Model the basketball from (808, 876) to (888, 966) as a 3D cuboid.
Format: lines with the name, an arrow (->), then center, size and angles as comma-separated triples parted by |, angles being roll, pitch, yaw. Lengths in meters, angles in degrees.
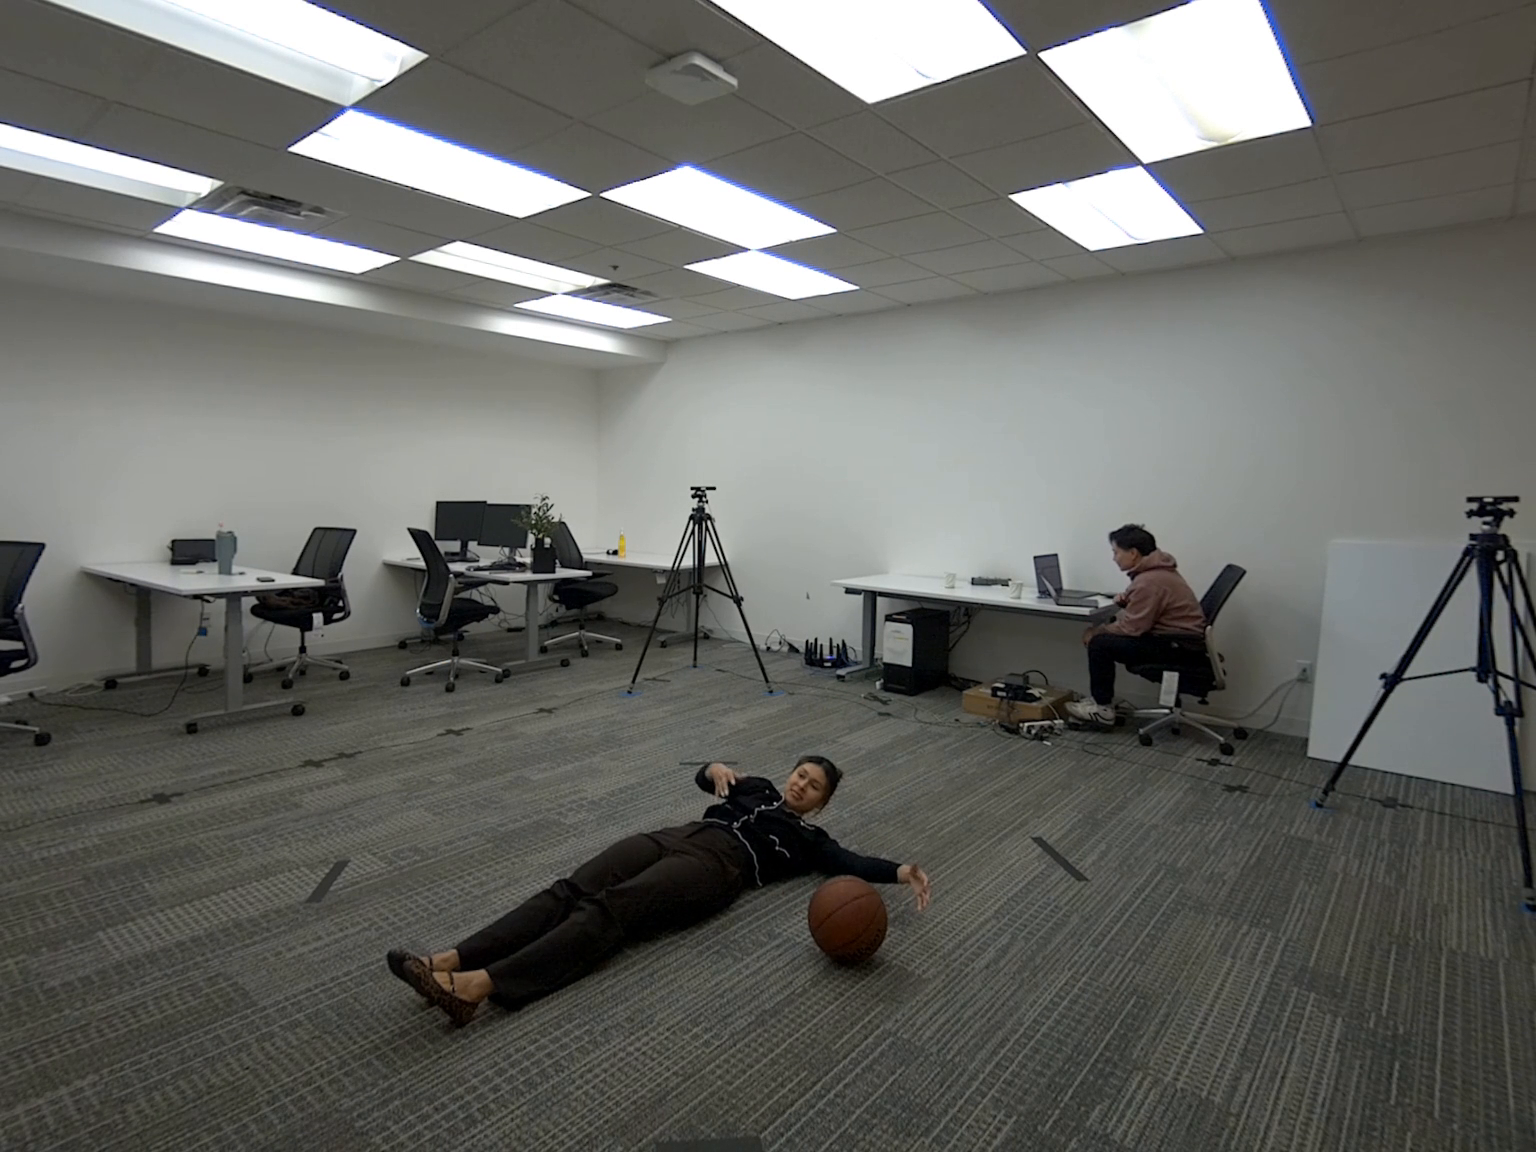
basketball -> 0.229, 1.014, 2.533 | 0.236, 0.235, 0.237 | 1, 4, -2
